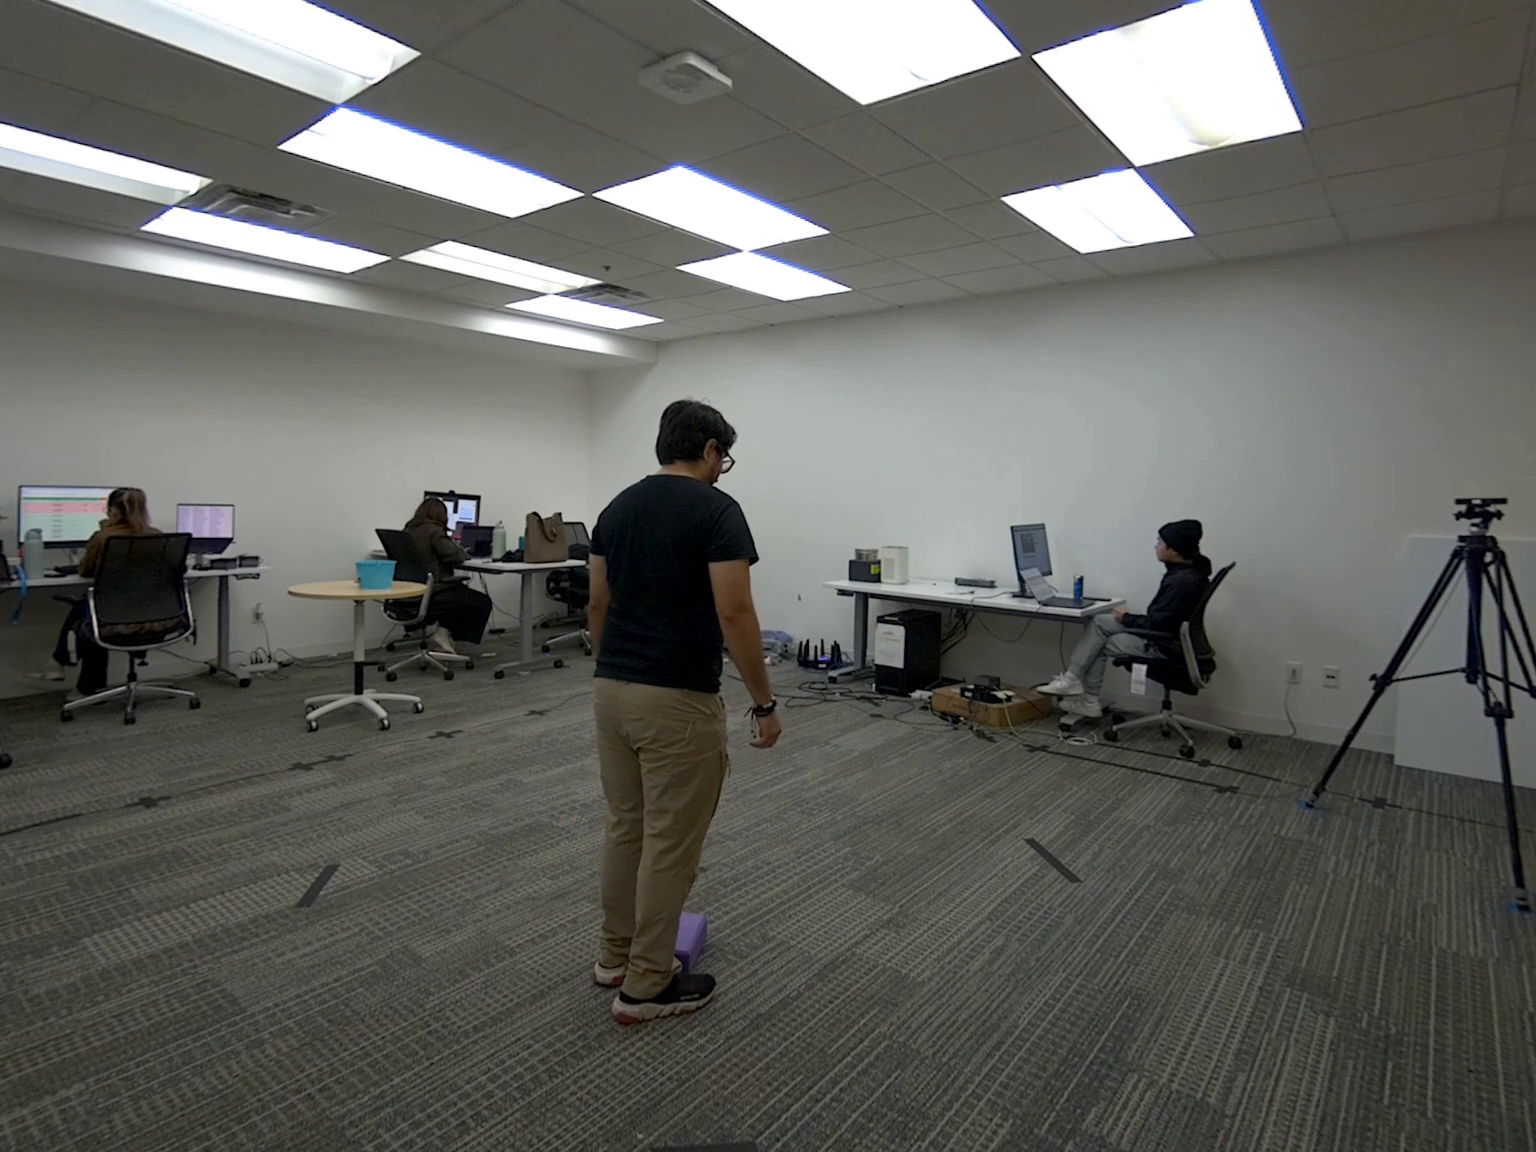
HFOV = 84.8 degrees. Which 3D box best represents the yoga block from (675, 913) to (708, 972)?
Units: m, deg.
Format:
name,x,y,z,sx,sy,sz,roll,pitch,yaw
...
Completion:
name,x,y,z,sx,sy,sz,roll,pitch,yaw
yoga block,-0.288,1.084,2.522,0.151,0.076,0.227,1,5,10
